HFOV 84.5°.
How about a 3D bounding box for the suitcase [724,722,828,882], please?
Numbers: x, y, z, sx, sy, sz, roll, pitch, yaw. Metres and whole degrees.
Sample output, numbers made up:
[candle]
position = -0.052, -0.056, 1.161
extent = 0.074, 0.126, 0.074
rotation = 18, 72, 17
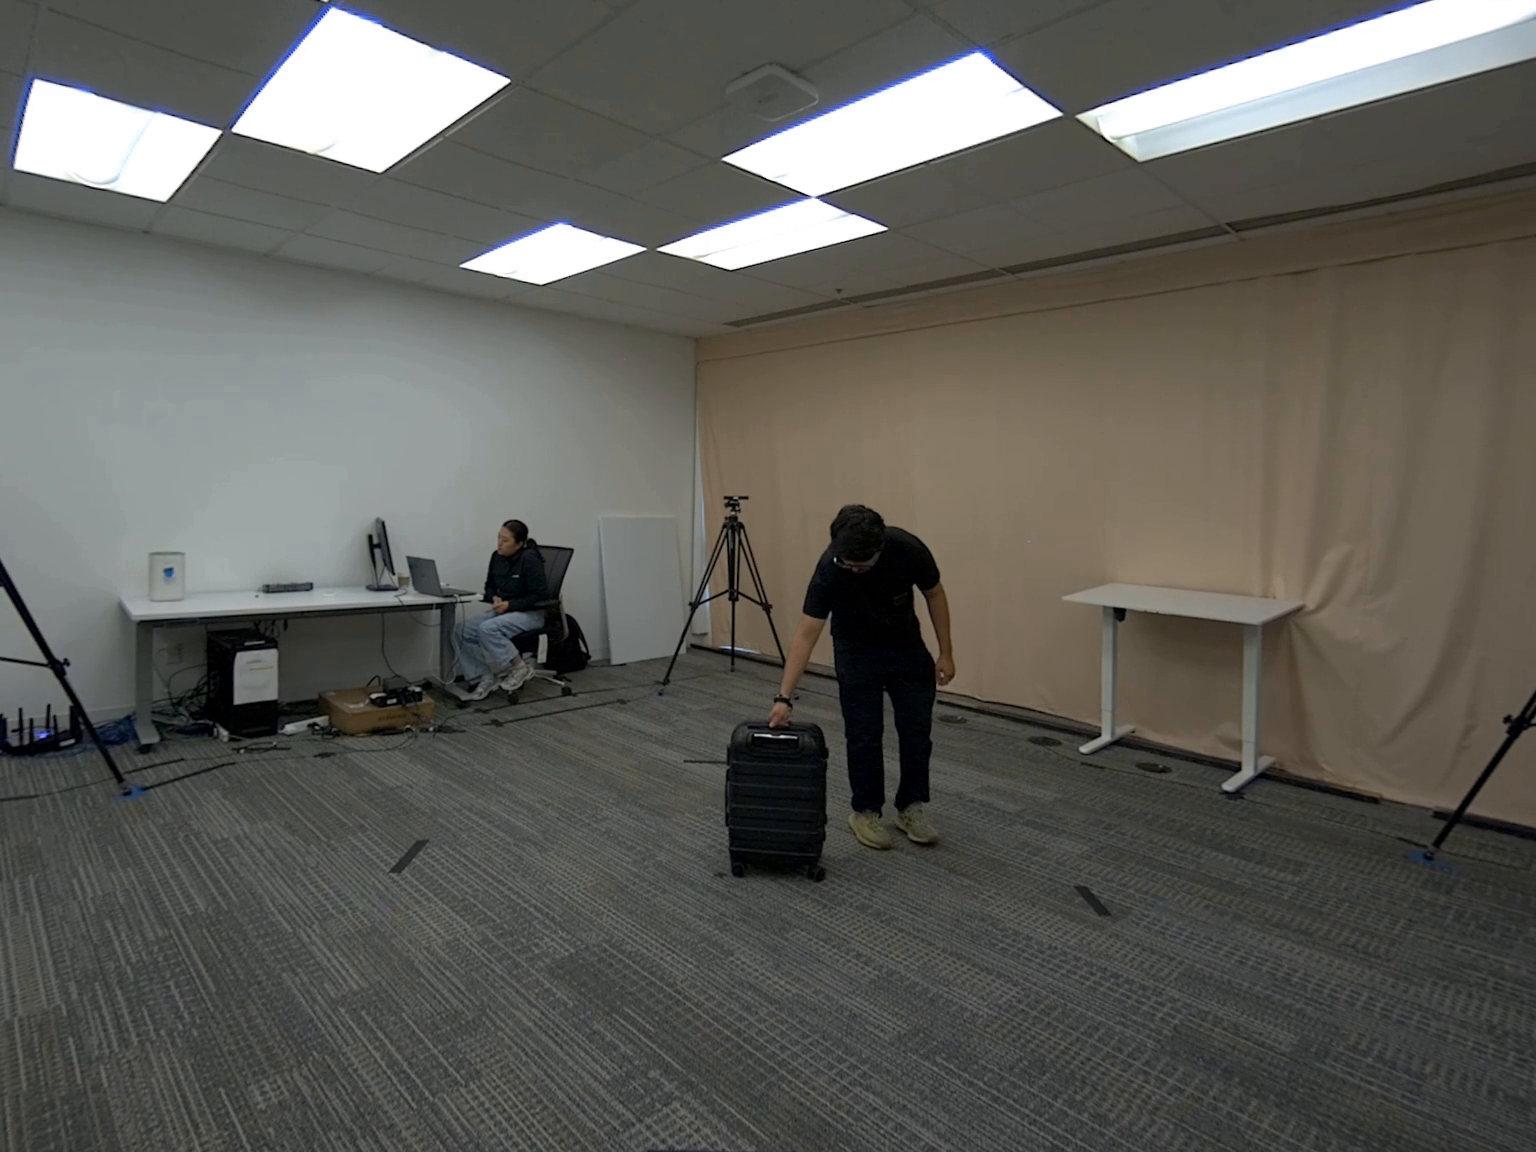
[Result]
[suitcase]
position = 0.028, 0.826, 3.178
extent = 0.377, 0.548, 0.247
rotation = 1, 2, 6
